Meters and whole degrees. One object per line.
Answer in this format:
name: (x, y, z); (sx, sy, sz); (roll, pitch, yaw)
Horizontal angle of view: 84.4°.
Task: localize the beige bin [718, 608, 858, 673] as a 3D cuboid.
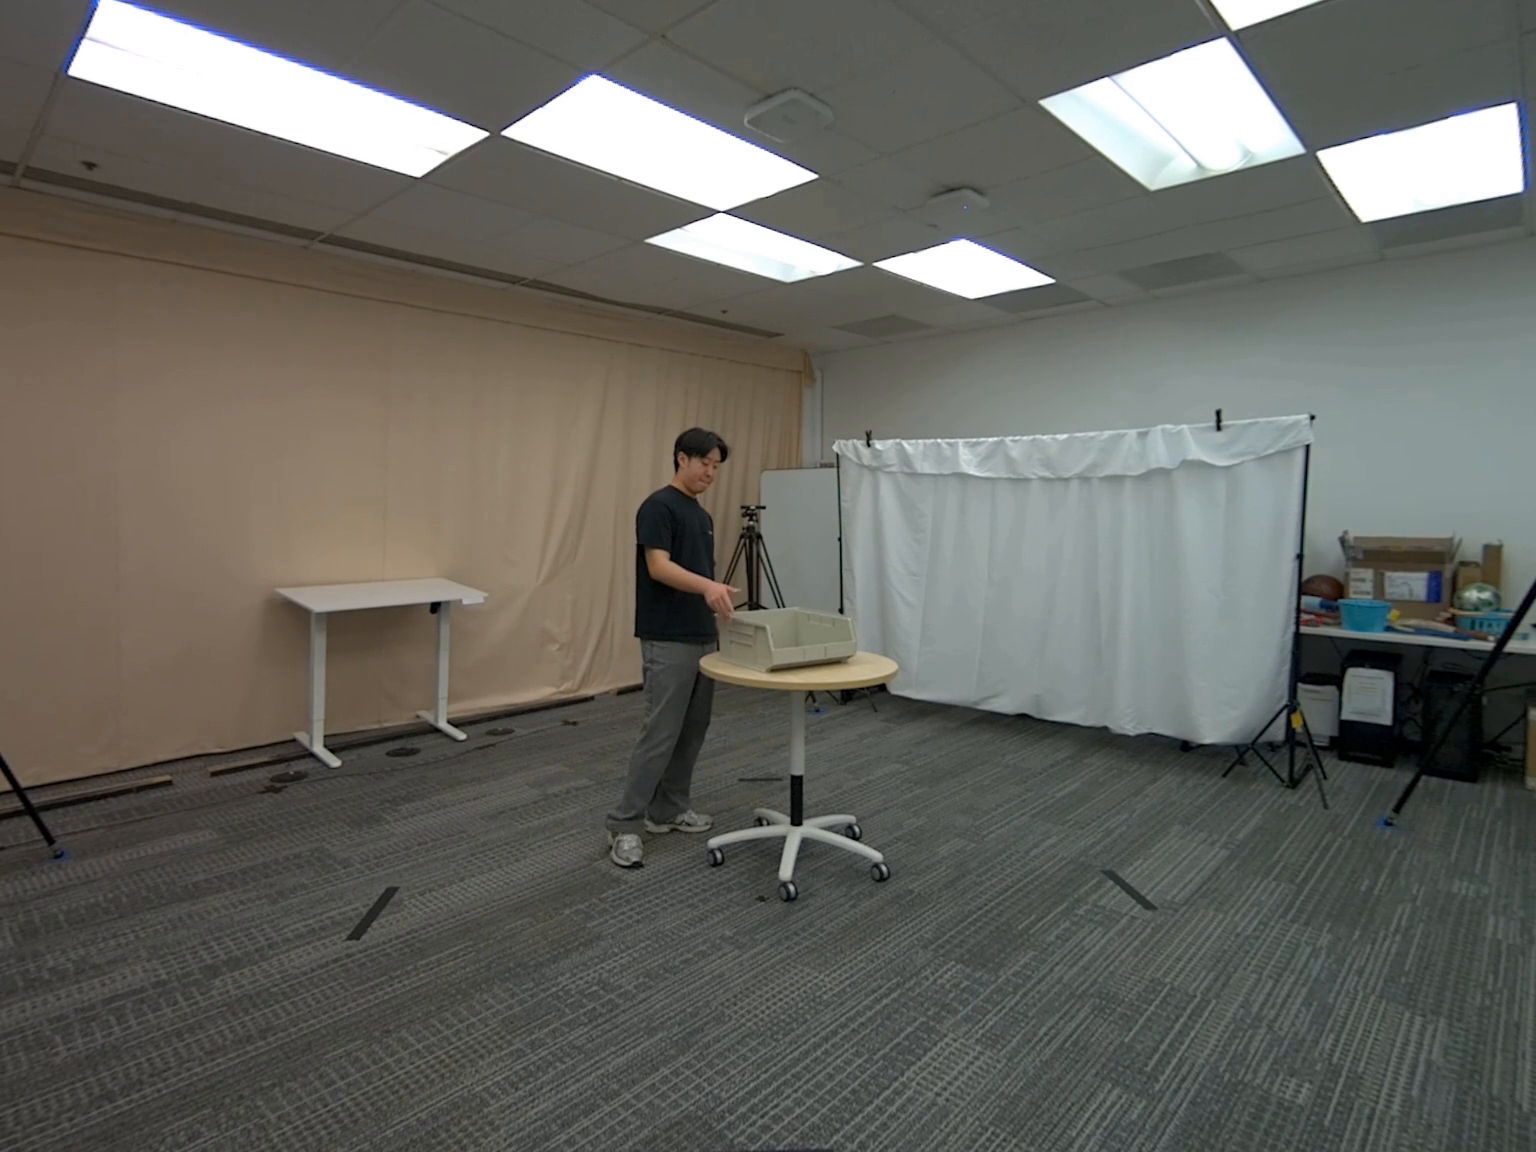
beige bin: (0.068, 0.244, 3.284); (0.410, 0.188, 0.389); (-4, 5, -35)
